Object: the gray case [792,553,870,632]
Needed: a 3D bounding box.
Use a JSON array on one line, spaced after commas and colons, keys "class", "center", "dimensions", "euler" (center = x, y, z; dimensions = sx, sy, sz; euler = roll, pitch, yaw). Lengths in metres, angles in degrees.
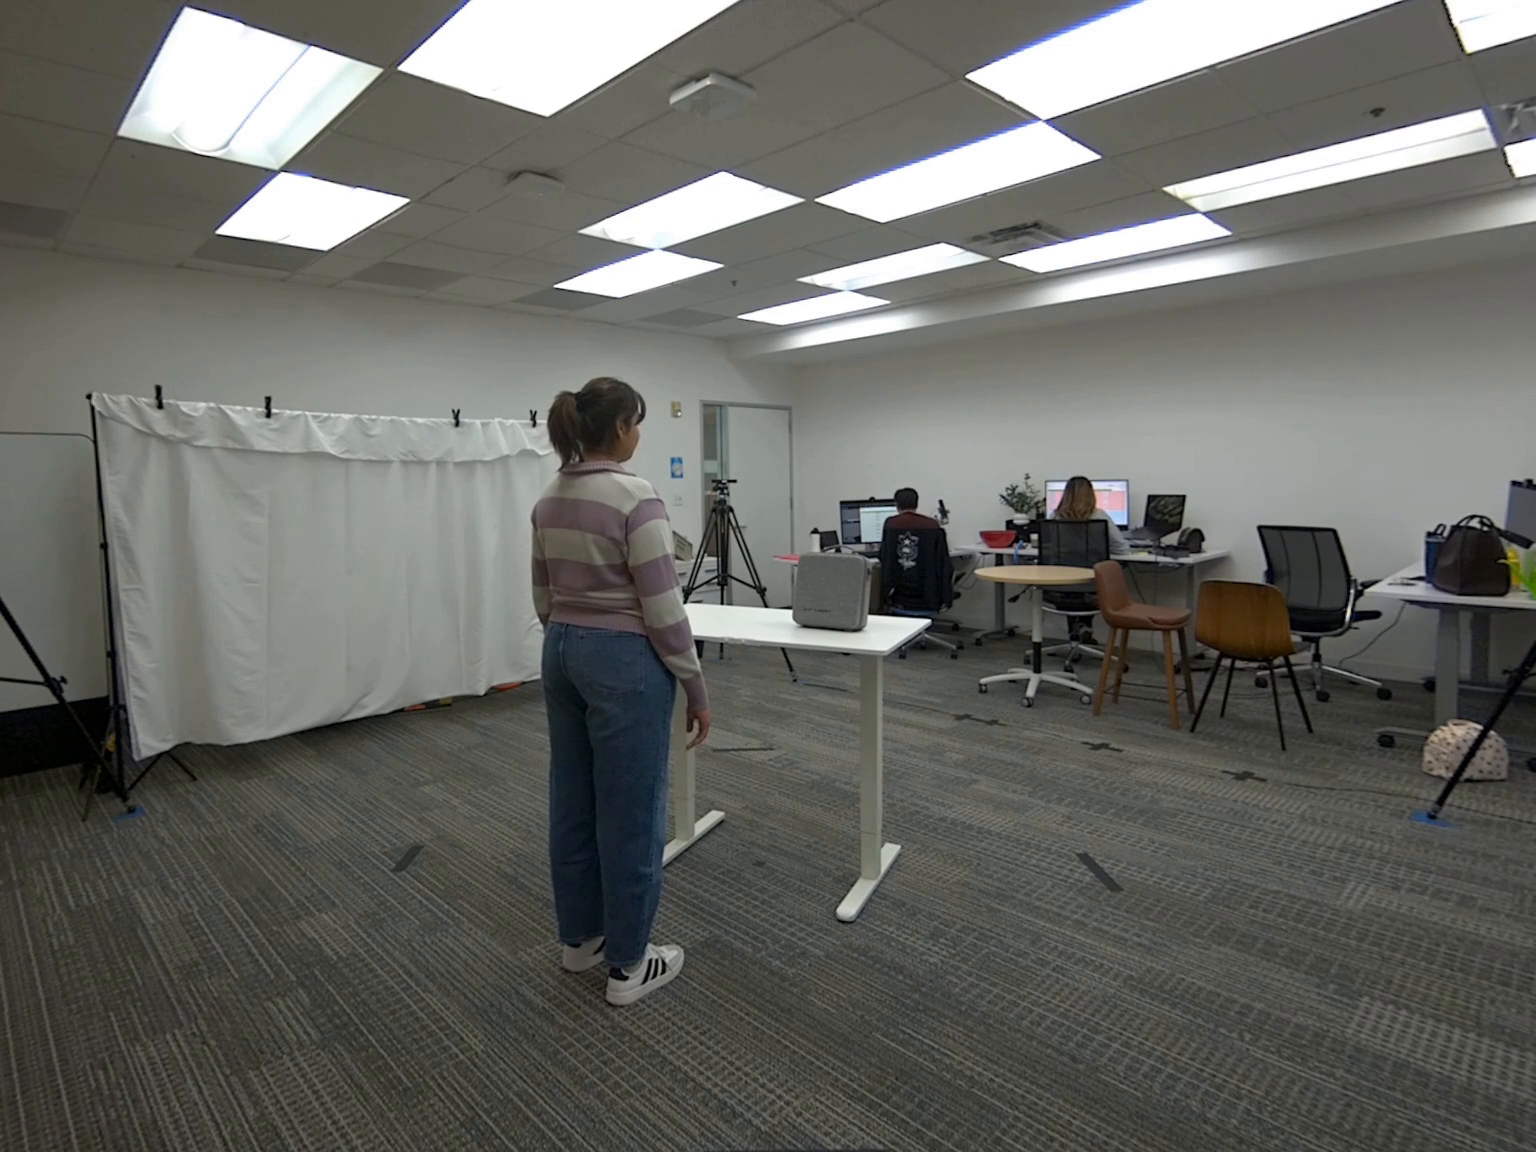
[{"class": "gray case", "center": [0.221, 0.047, 2.947], "dimensions": [0.264, 0.262, 0.101], "euler": [4, -5, 31]}]
